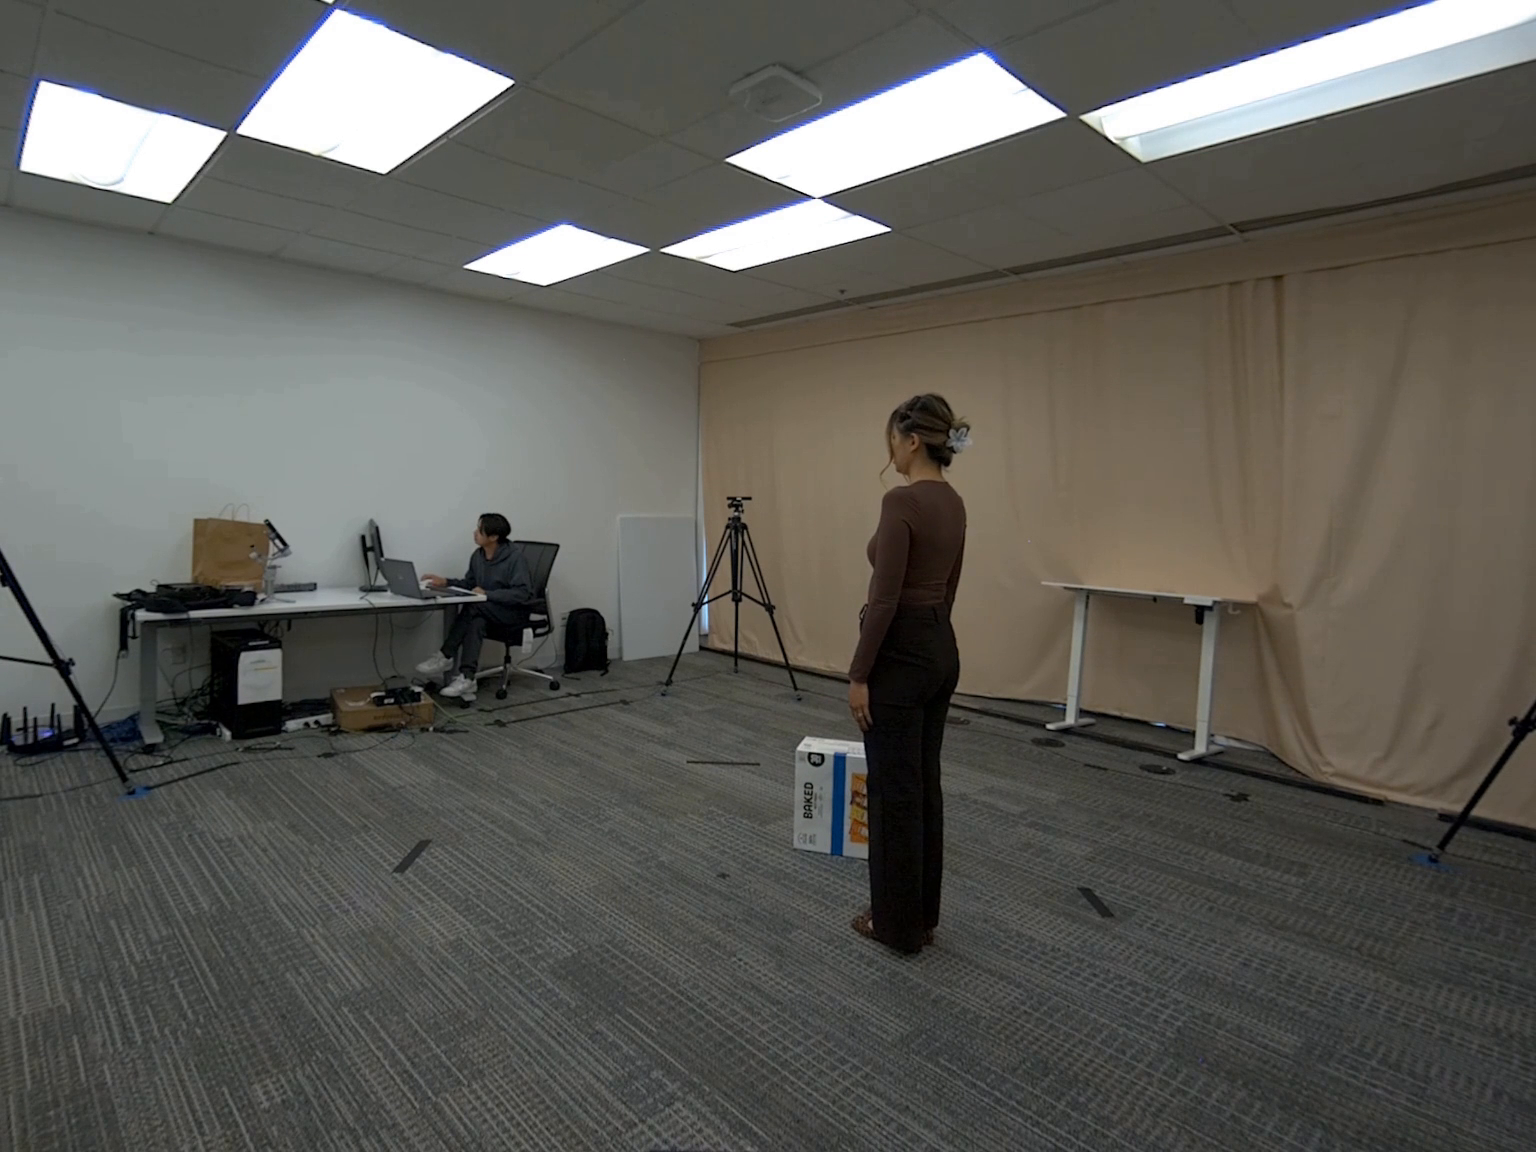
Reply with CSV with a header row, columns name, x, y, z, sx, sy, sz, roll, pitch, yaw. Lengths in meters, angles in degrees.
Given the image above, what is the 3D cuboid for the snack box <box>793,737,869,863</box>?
name,x,y,z,sx,sy,sz,roll,pitch,yaw
snack box,0.293,0.891,3.391,0.345,0.404,0.203,3,3,16
